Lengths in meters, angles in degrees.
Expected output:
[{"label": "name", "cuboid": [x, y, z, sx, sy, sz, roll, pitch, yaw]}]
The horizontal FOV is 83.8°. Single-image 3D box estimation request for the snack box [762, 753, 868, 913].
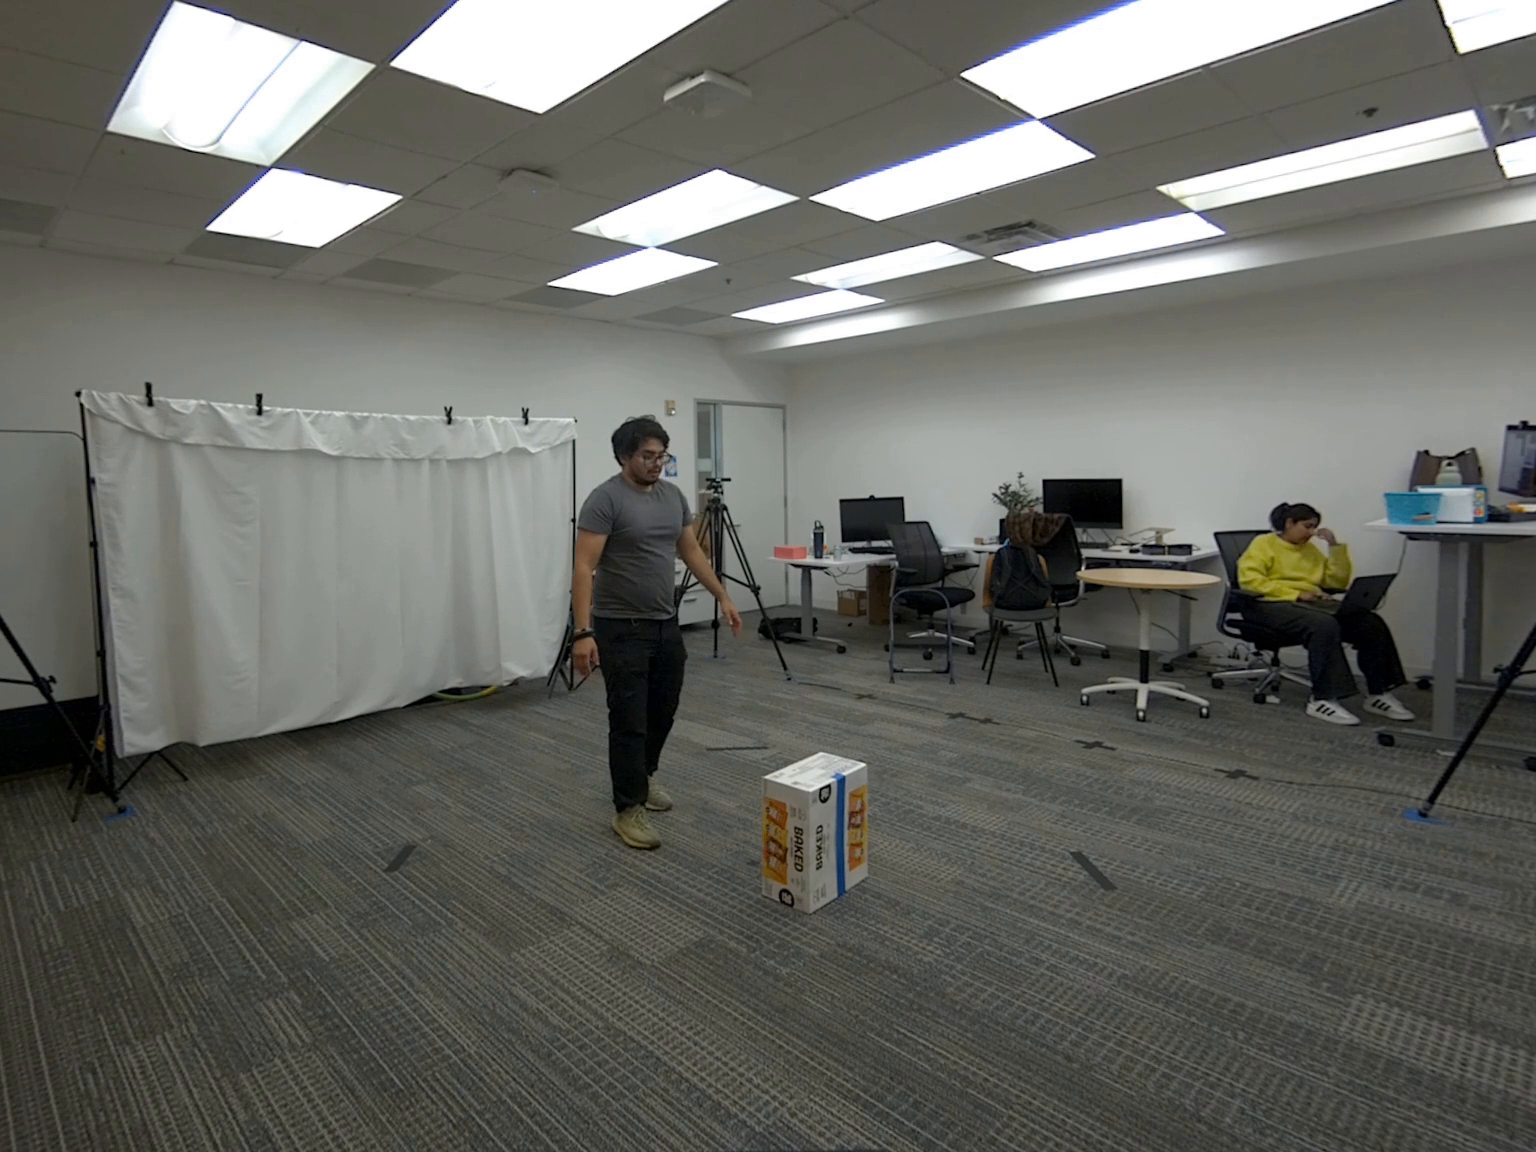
[{"label": "snack box", "cuboid": [0.164, 0.858, 2.903, 0.212, 0.403, 0.332, 3, 6, 40]}]
